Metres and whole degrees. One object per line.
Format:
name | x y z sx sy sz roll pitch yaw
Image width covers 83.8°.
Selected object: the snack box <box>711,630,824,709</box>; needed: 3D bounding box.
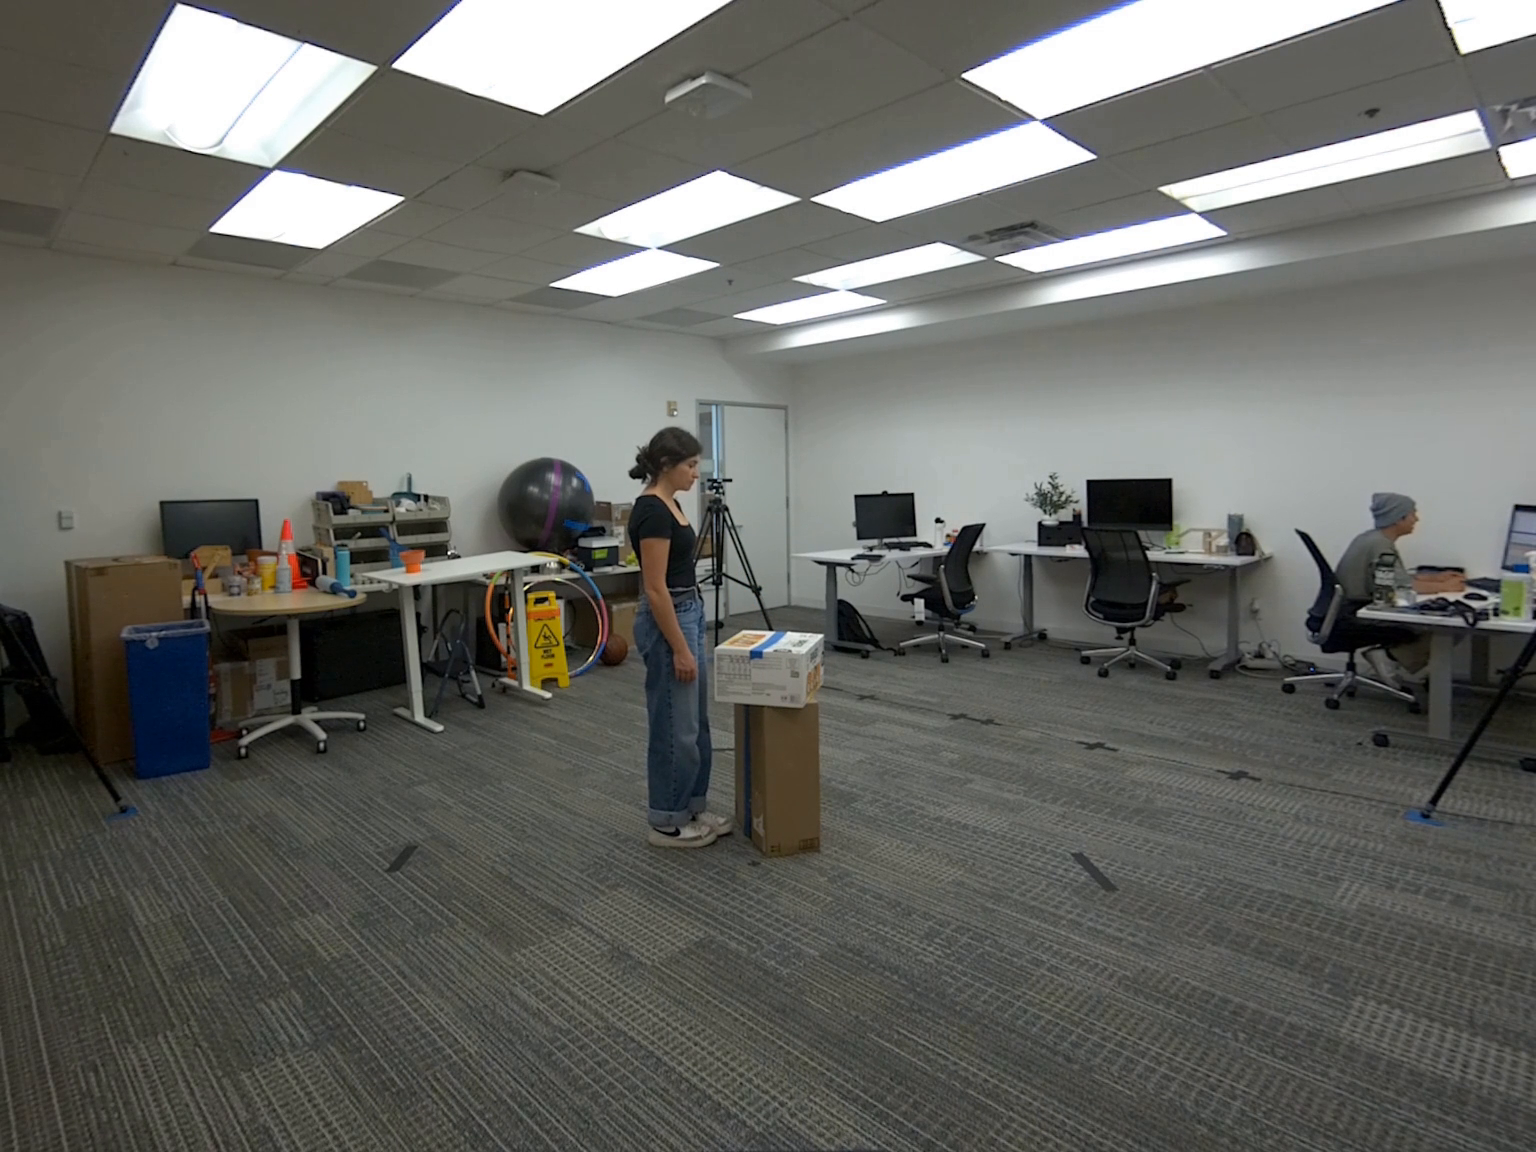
snack box | 0.010 0.351 3.310 0.346 0.205 0.400 1 6 16
